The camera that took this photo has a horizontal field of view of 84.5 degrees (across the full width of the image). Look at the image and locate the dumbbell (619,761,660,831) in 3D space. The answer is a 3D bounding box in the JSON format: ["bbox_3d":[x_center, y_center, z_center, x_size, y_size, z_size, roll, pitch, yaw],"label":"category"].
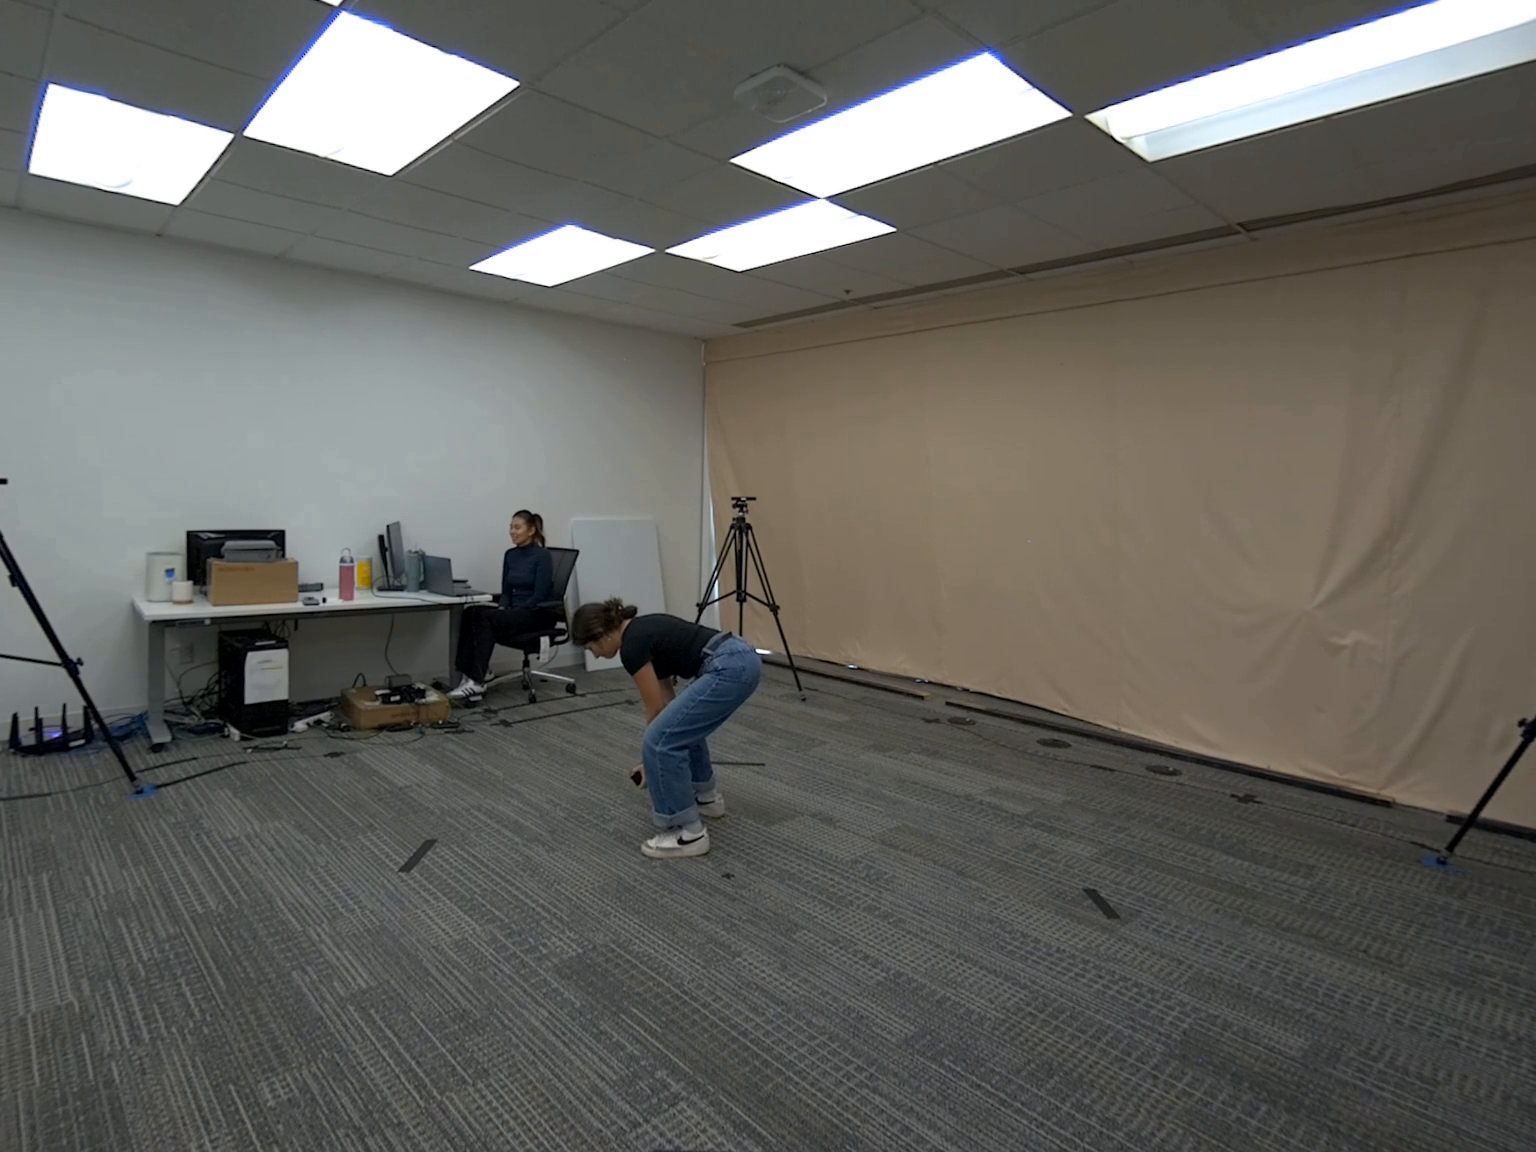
[{"bbox_3d":[-0.466,0.914,3.527,0.123,0.295,0.108,-43,-6,38],"label":"dumbbell"}]
